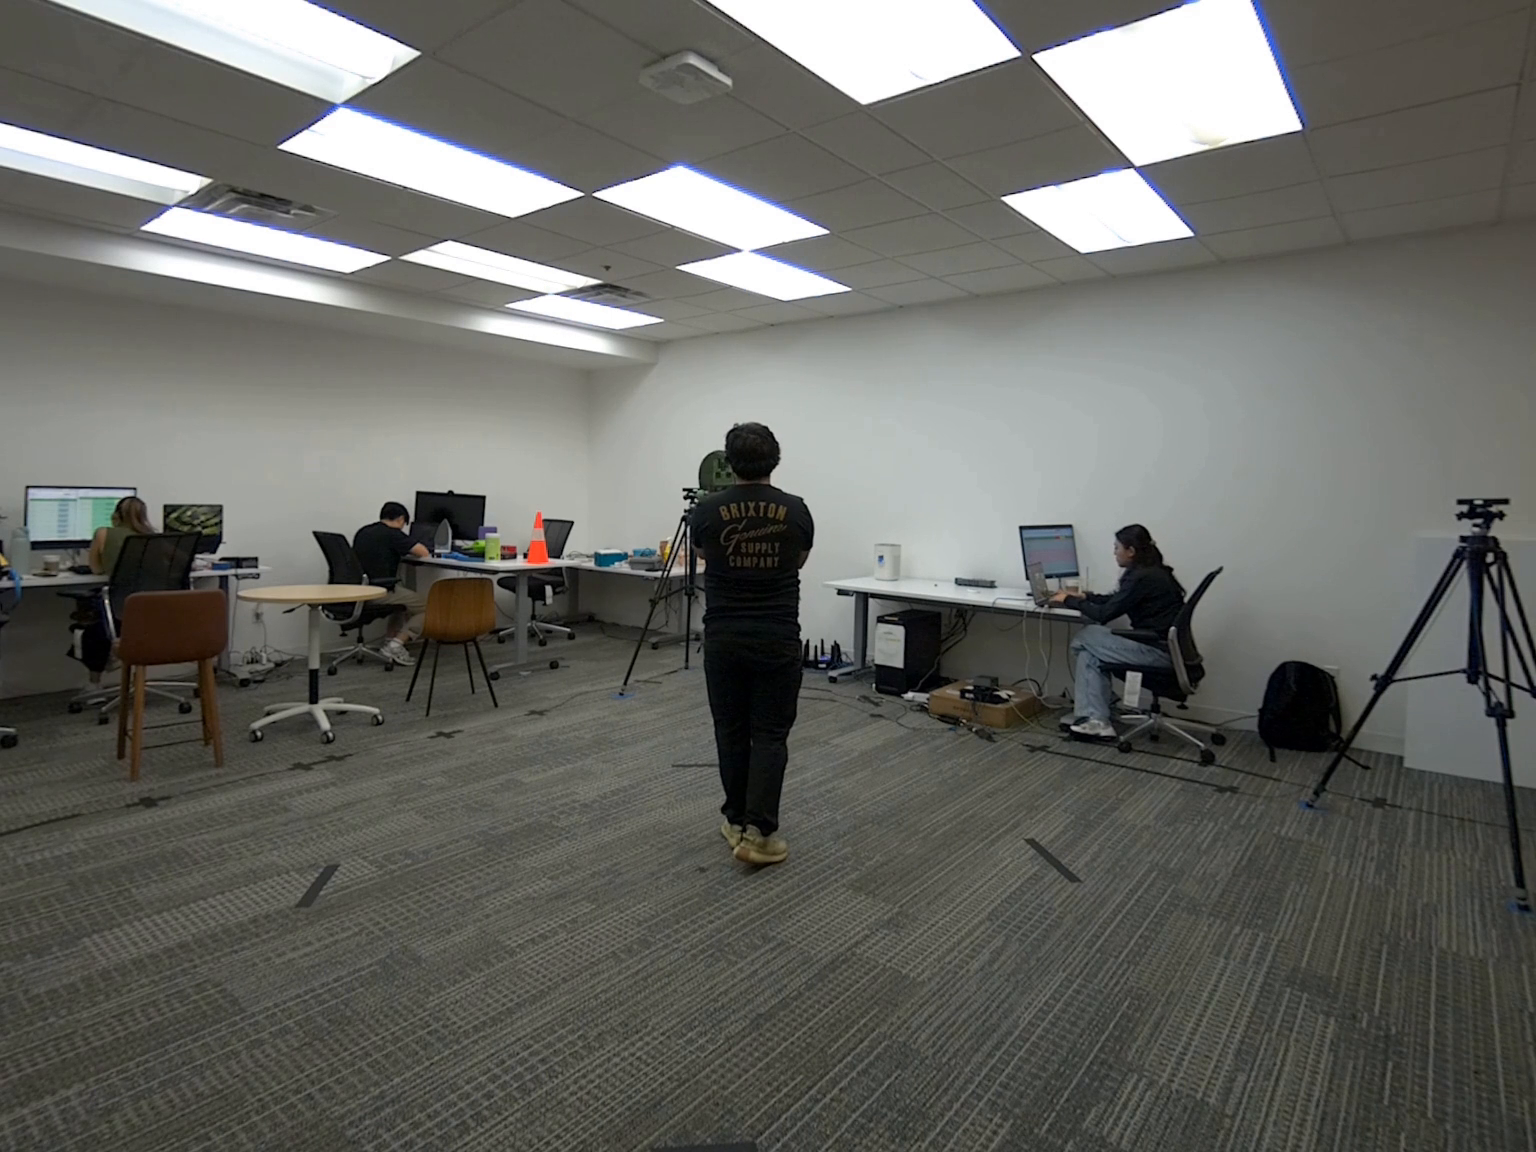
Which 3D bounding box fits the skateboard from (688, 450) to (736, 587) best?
[{"bbox_3d":[-0.200,-0.161,3.740,0.196,0.784,0.109,-6,1,13],"label":"skateboard"}]
